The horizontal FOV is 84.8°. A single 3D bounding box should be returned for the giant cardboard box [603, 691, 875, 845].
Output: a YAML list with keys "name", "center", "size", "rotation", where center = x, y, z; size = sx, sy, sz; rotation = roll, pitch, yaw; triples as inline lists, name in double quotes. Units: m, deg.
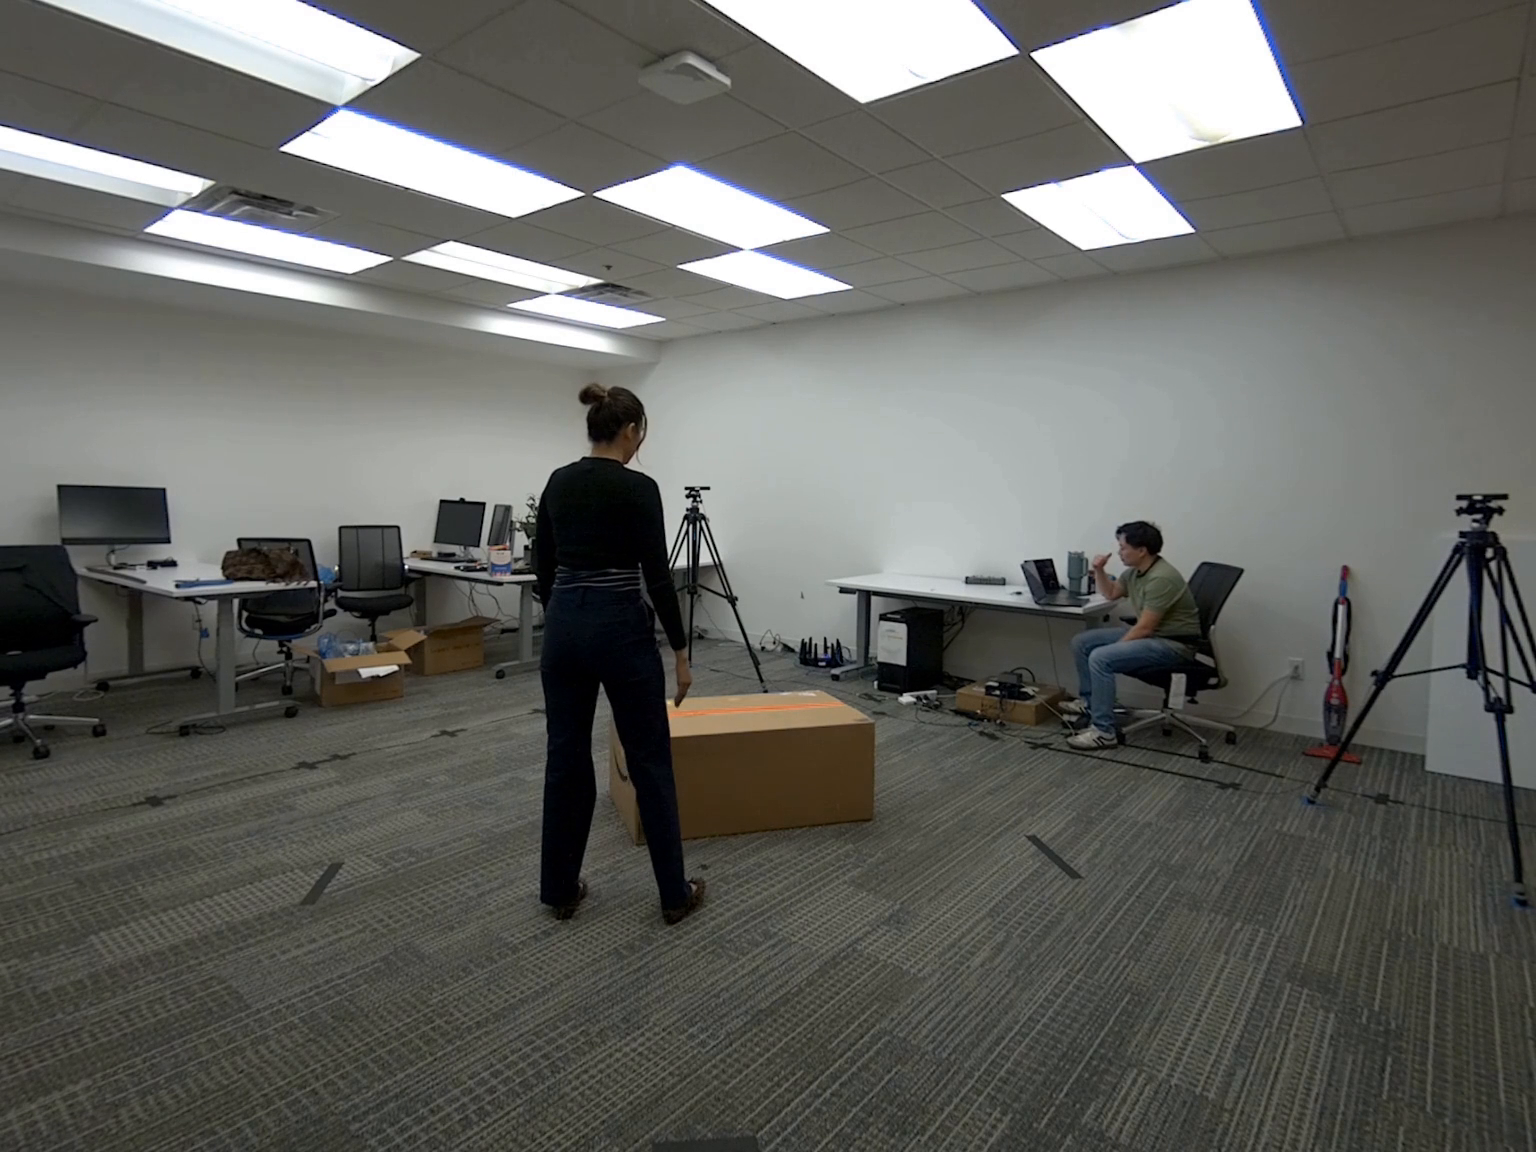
- name: "giant cardboard box"
  center: [-0.134, 0.793, 3.703]
  size: [1.008, 0.425, 0.590]
  rotation: [-1, 4, -18]
